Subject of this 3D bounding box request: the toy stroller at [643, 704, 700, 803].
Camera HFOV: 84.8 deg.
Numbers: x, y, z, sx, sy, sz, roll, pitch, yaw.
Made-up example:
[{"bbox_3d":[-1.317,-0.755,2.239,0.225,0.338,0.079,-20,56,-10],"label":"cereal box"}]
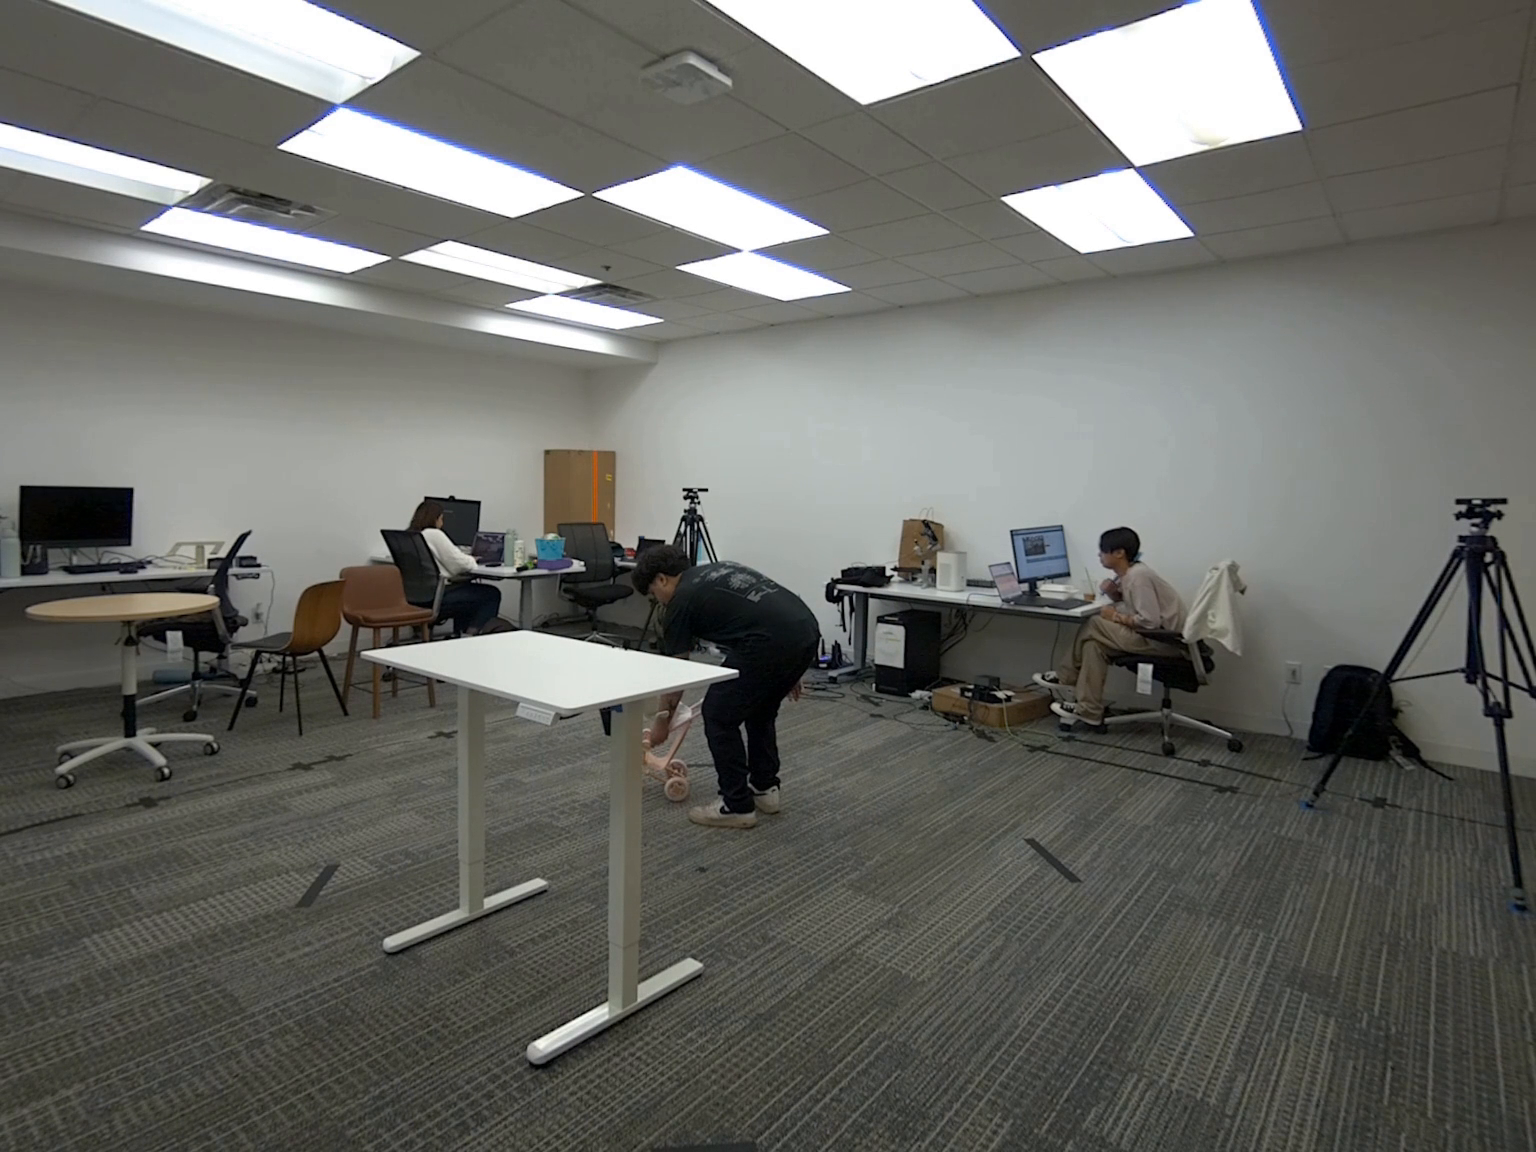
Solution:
[{"bbox_3d":[-0.483,0.771,3.918,0.344,0.535,0.279,15,1,6],"label":"toy stroller"}]
